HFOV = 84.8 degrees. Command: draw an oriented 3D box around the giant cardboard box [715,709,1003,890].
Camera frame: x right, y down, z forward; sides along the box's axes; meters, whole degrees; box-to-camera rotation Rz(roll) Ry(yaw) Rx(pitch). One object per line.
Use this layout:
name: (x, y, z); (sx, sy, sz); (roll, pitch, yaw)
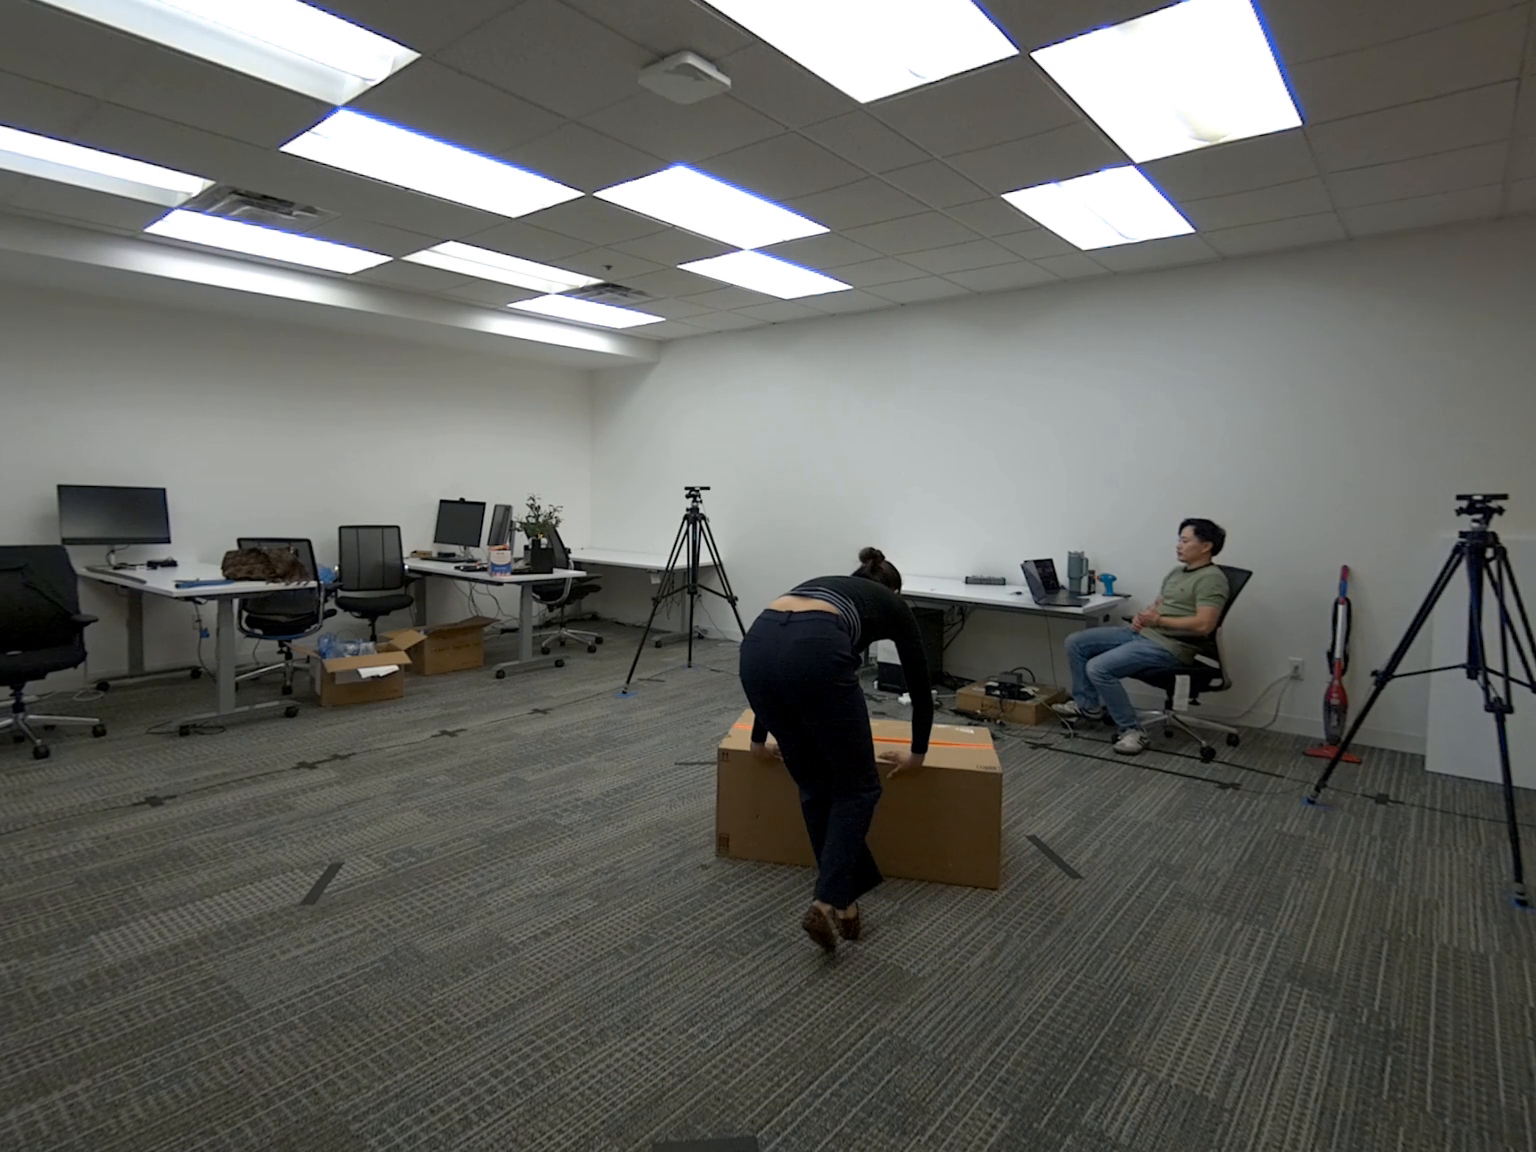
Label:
giant cardboard box: (0.348, 0.836, 3.354); (1.040, 0.424, 0.572); (2, 6, 12)
